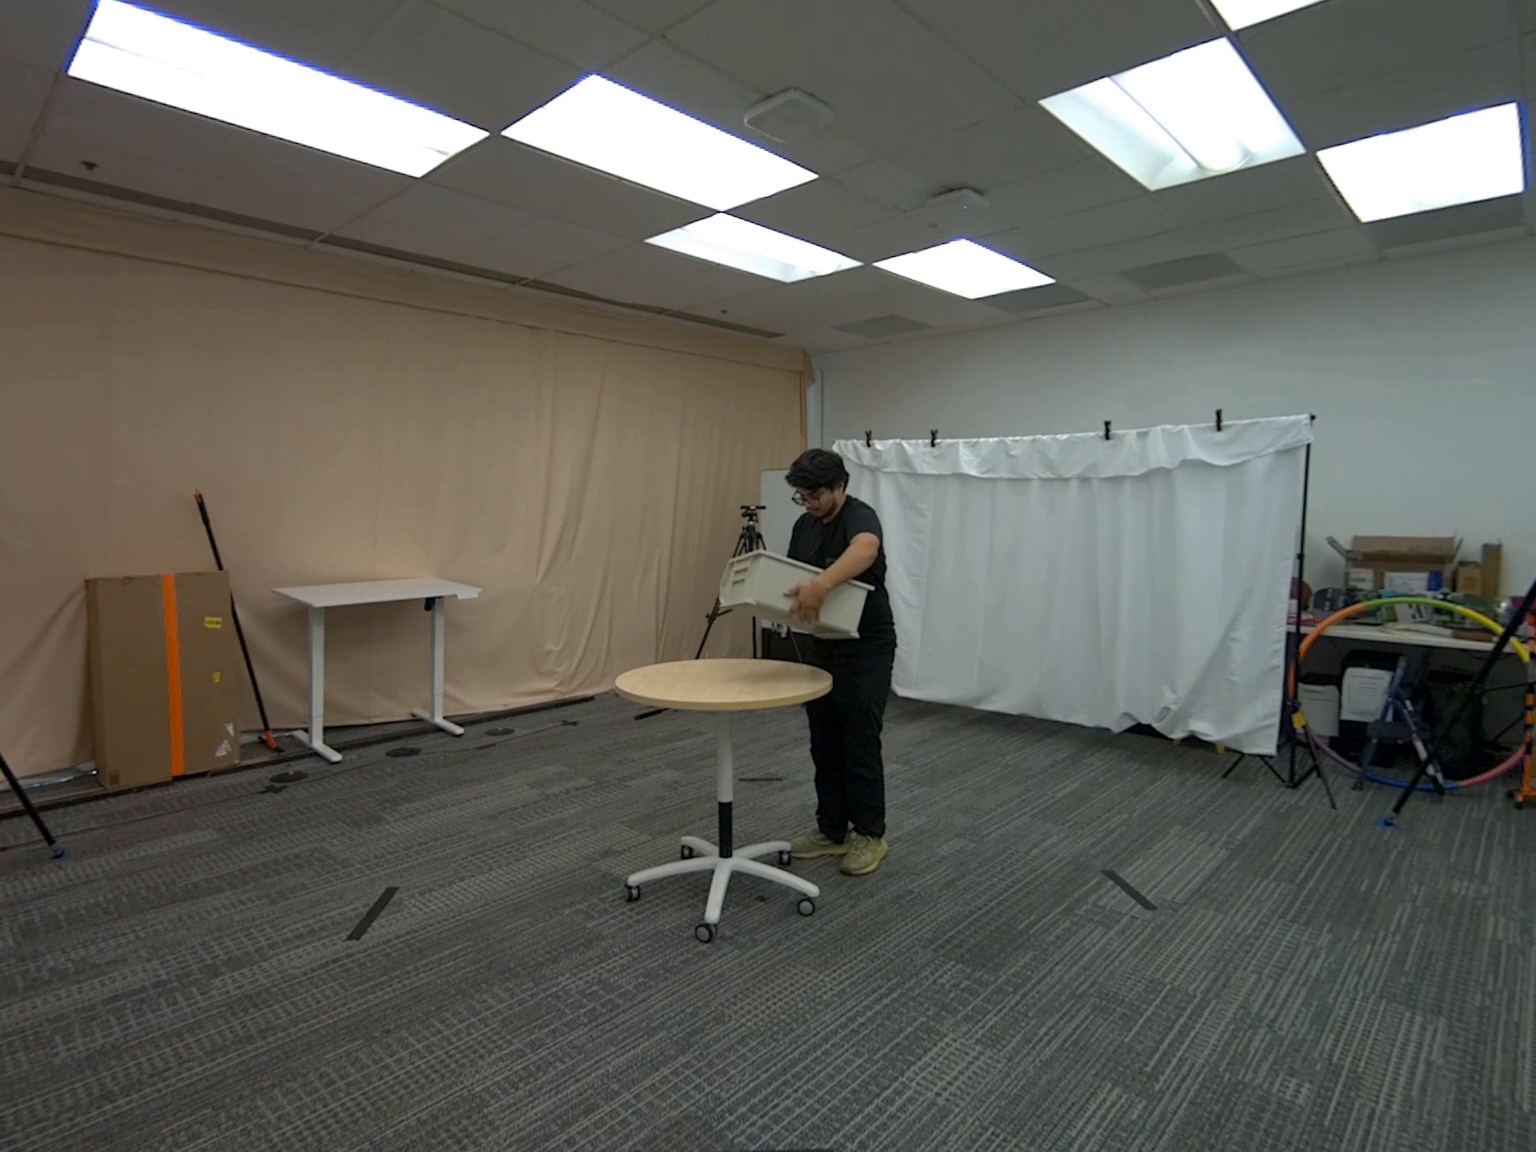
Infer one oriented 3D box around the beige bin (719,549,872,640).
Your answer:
[{"bbox_3d":[0.084,0.078,2.943,0.415,0.189,0.383,18,-10,-15],"label":"beige bin"}]
